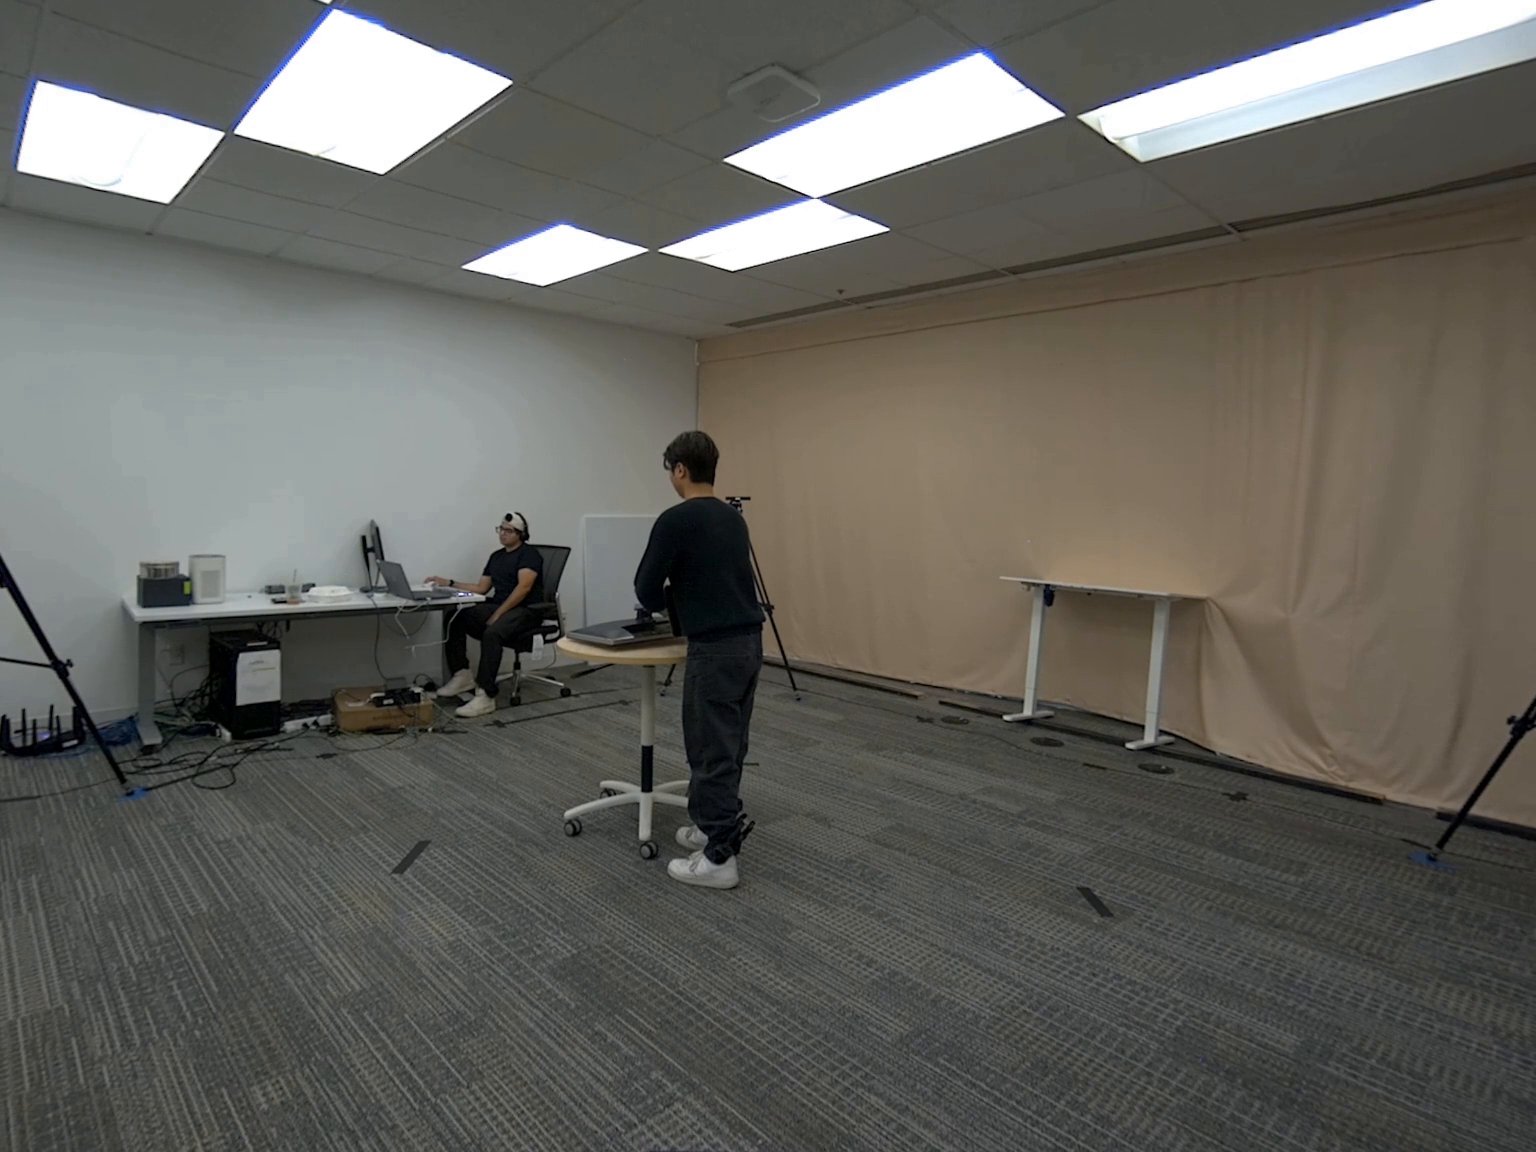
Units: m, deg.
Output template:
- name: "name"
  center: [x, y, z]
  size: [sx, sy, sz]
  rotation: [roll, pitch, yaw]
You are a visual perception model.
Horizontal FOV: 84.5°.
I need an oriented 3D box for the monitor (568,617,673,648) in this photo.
- name: "monitor"
  center: [-0.478, 0.179, 3.525]
  size: [0.527, 0.188, 0.530]
  rotation: [-3, -10, -40]
